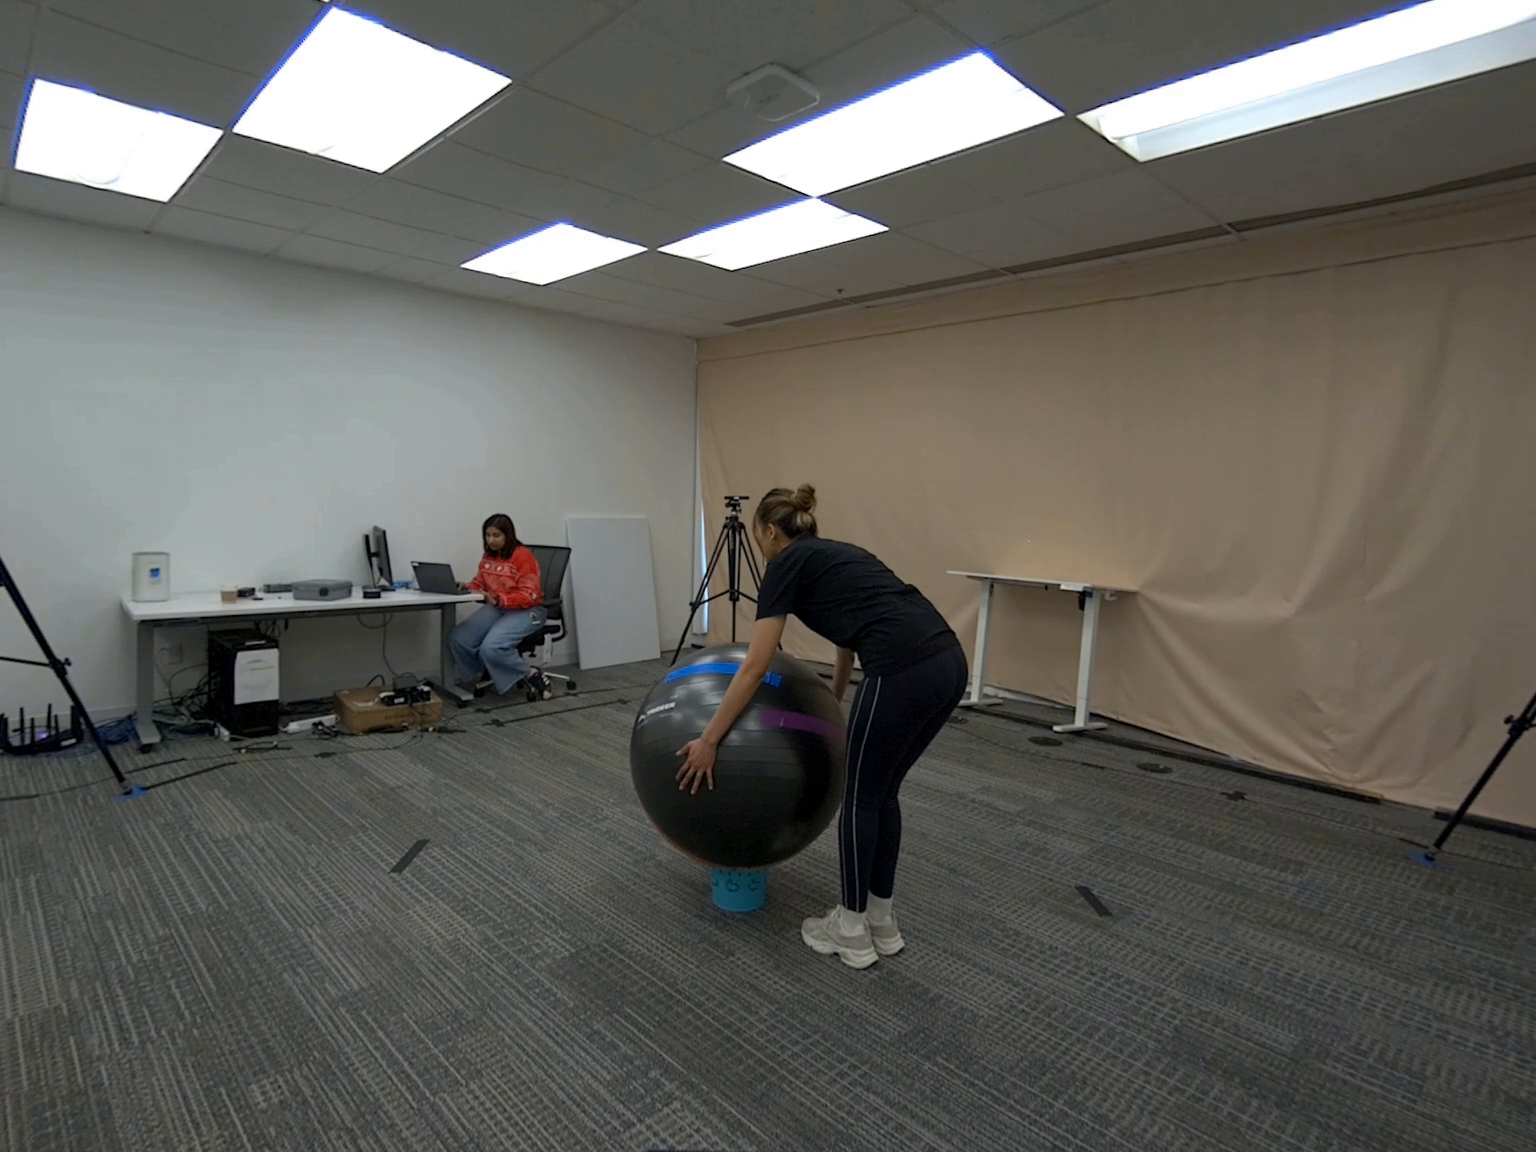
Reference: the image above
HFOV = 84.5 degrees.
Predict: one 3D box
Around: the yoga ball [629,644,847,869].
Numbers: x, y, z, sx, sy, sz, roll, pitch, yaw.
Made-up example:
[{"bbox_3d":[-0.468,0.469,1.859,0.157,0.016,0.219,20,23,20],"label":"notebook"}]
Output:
[{"bbox_3d":[-0.095,0.611,2.902,0.757,0.756,0.761,1,4,-1],"label":"yoga ball"}]
